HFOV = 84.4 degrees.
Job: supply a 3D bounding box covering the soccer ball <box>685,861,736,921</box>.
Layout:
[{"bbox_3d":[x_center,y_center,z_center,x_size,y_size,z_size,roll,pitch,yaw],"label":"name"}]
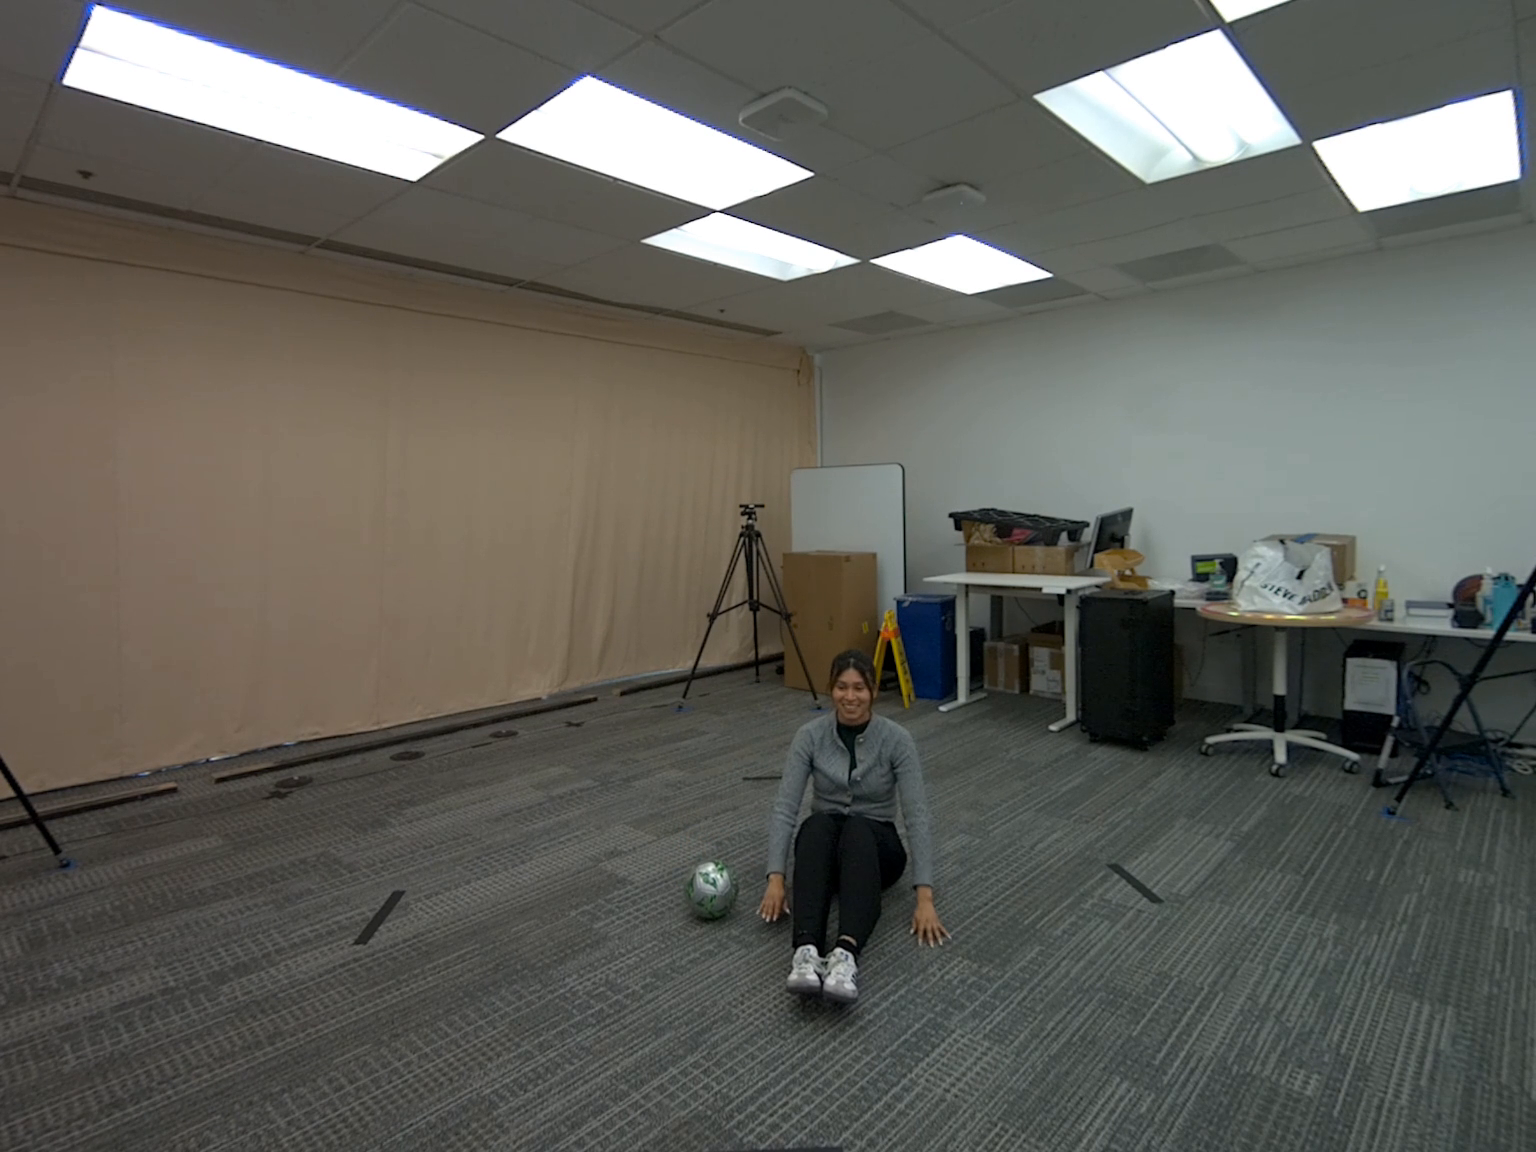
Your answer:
[{"bbox_3d":[-0.189,1.064,2.858,0.187,0.187,0.188,-1,4,-2],"label":"soccer ball"}]
